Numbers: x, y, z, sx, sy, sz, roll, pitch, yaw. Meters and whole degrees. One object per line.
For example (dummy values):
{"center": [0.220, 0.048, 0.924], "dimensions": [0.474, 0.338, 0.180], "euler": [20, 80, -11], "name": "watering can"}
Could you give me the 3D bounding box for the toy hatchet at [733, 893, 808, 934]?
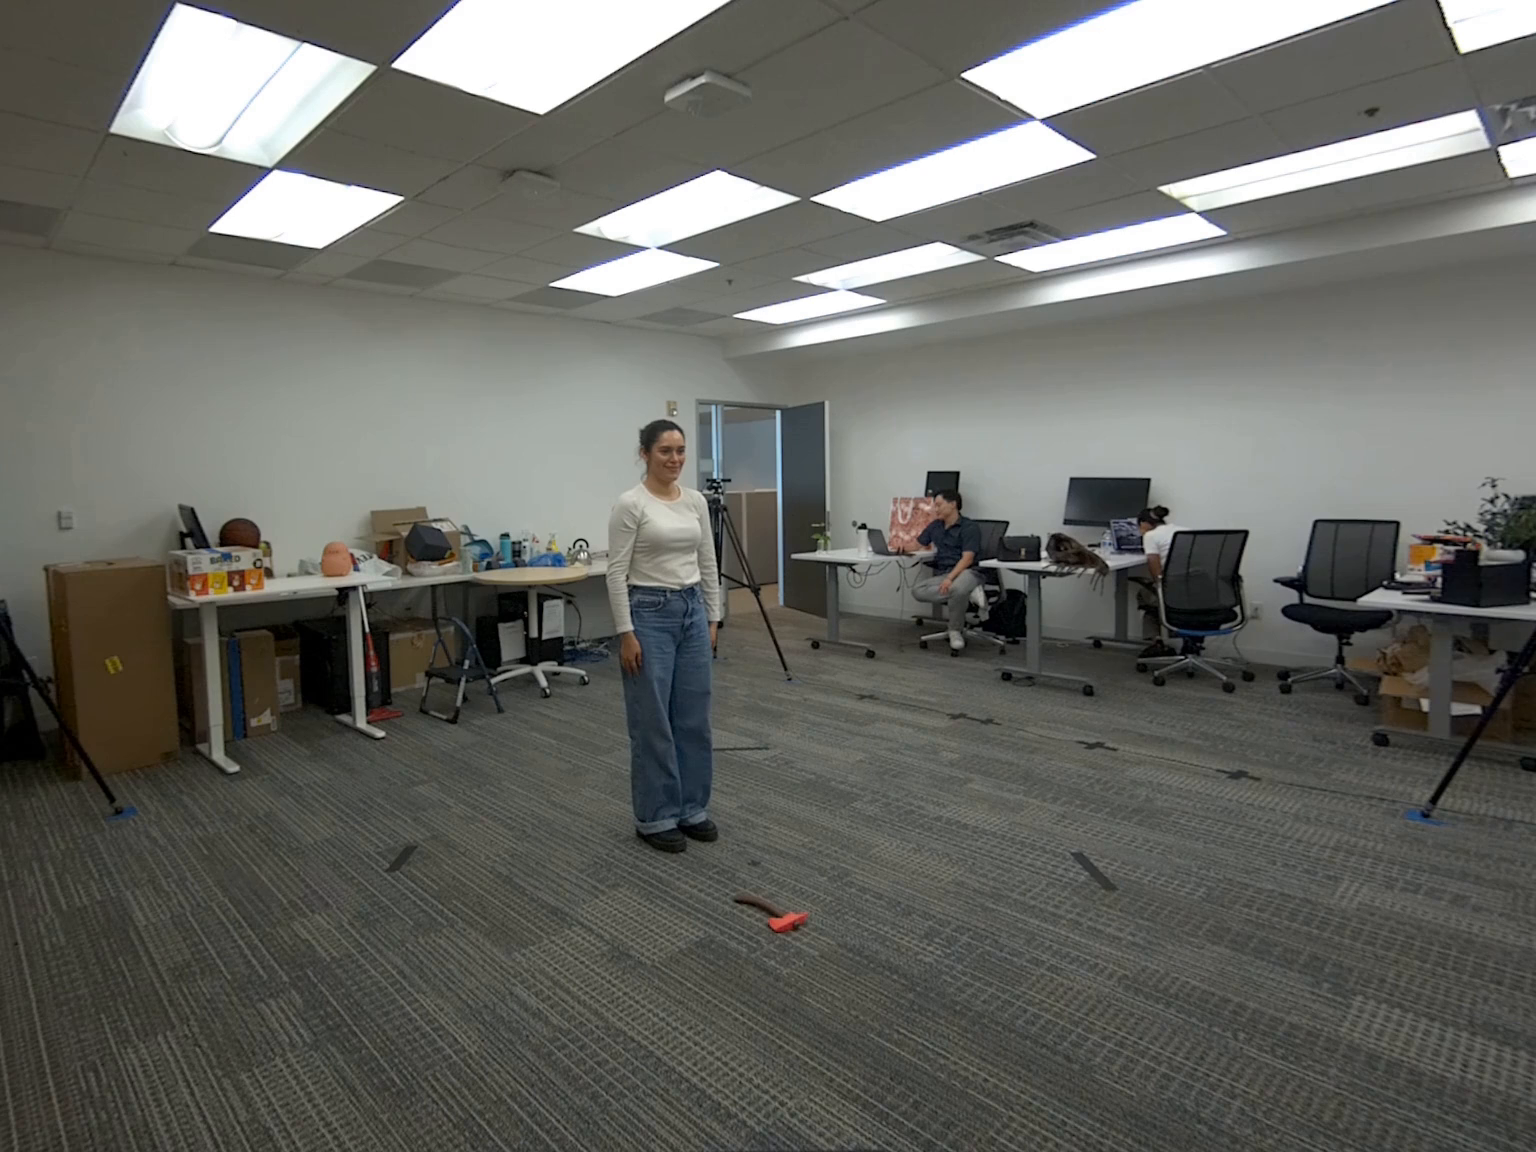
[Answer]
{"center": [-0.013, 1.077, 2.723], "dimensions": [0.278, 0.029, 0.128], "euler": [2, 11, 35], "name": "toy hatchet"}
